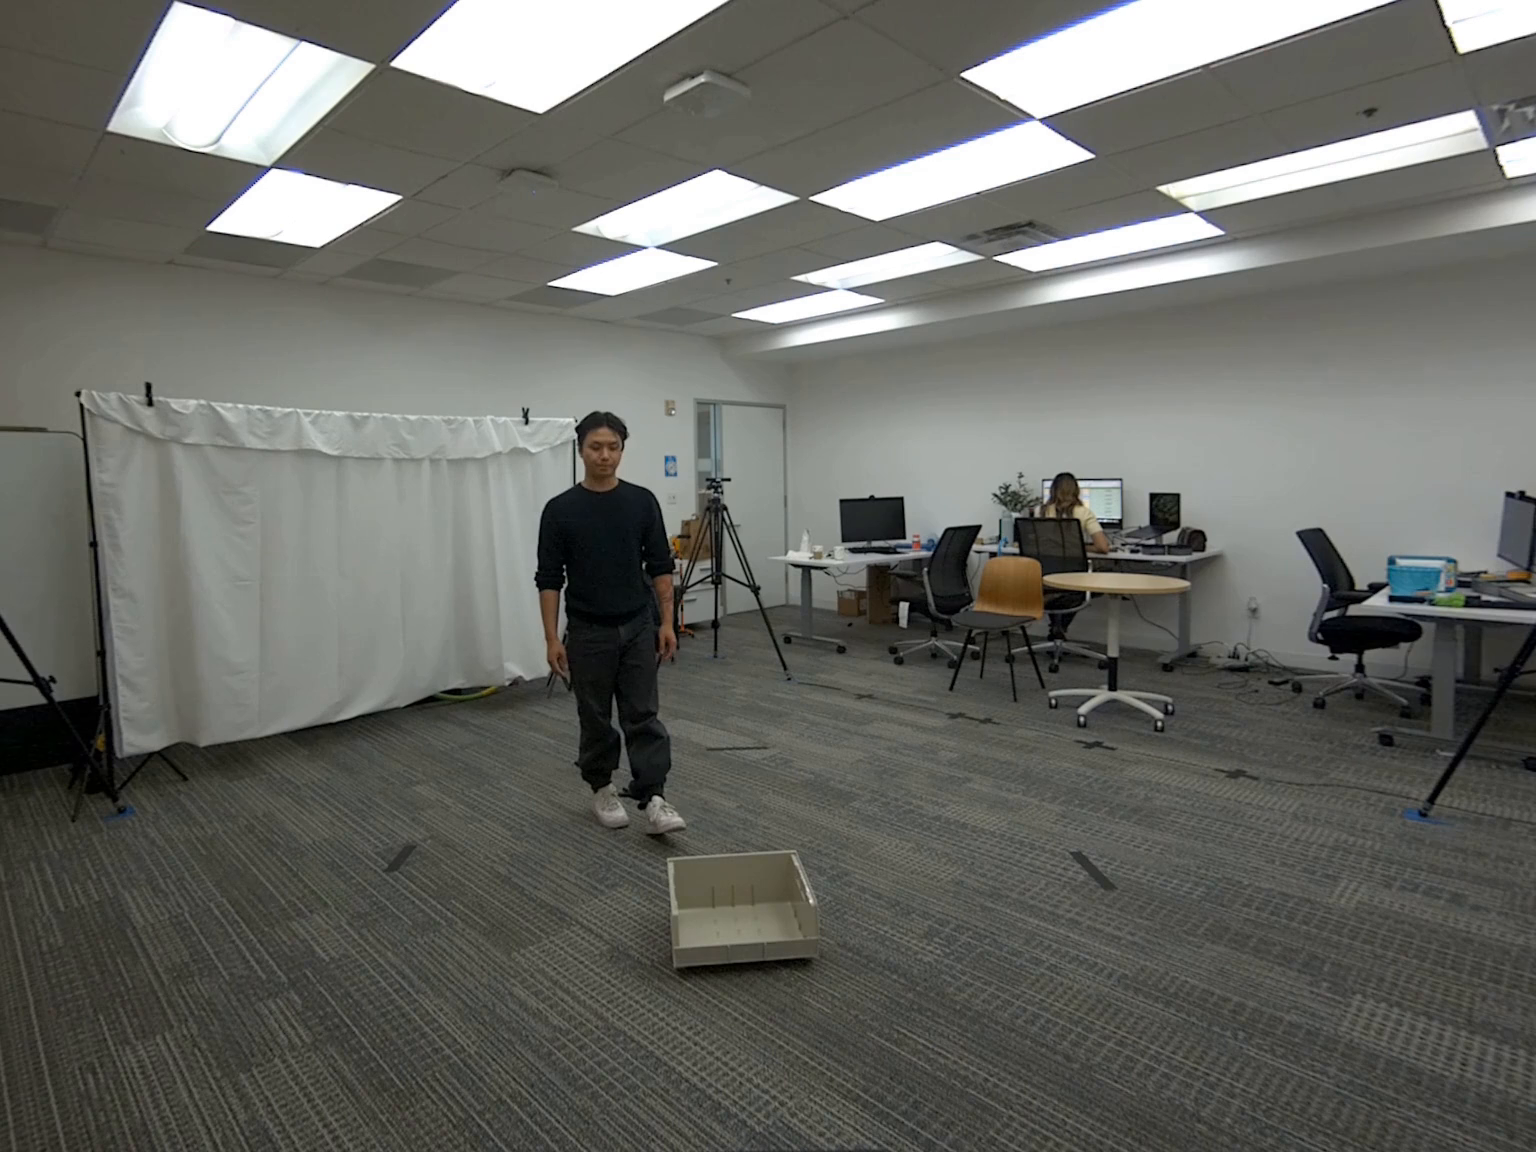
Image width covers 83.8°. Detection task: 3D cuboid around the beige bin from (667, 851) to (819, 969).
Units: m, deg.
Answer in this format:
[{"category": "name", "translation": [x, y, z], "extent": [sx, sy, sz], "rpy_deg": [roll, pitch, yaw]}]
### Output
[{"category": "beige bin", "translation": [-0.082, 1.023, 2.578], "extent": [0.420, 0.188, 0.381], "rpy_deg": [-2, 6, -7]}]
